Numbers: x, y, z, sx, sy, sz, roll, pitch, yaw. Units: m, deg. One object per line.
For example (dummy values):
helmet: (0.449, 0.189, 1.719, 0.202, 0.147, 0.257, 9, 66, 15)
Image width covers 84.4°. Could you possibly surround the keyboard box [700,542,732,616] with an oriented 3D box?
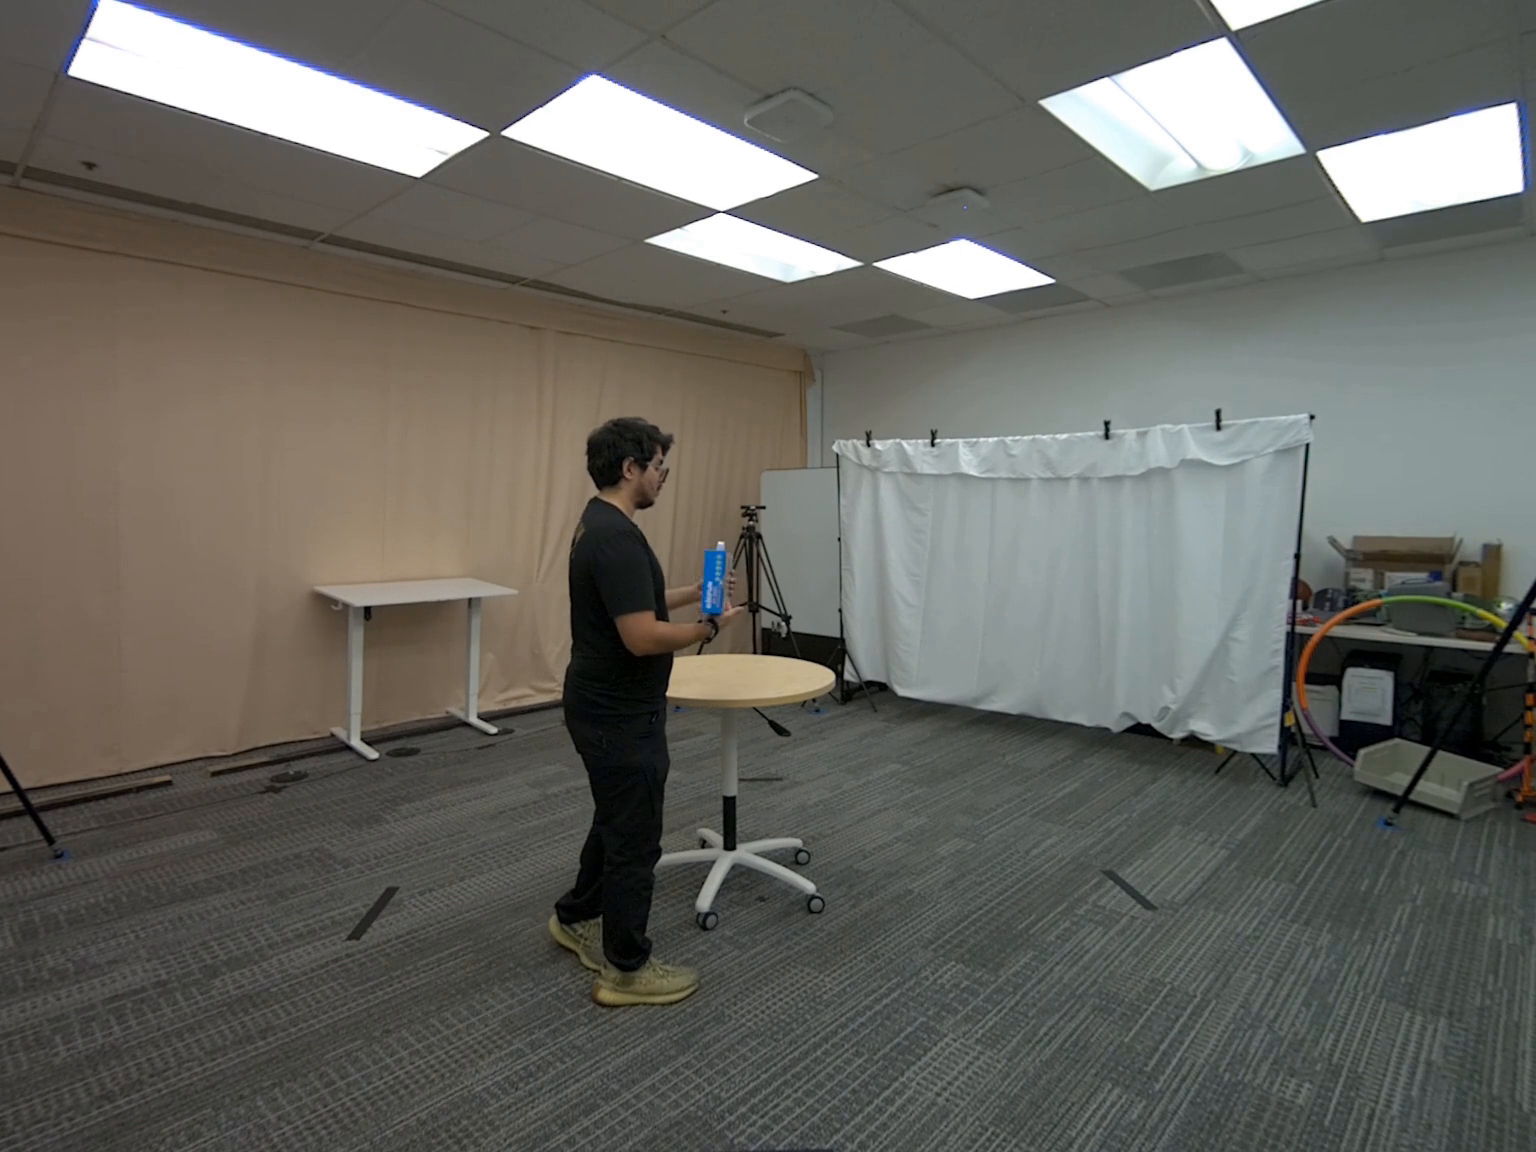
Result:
keyboard box: (-0.147, 0.017, 2.482, 0.059, 0.176, 0.436, 5, -1, -1)
